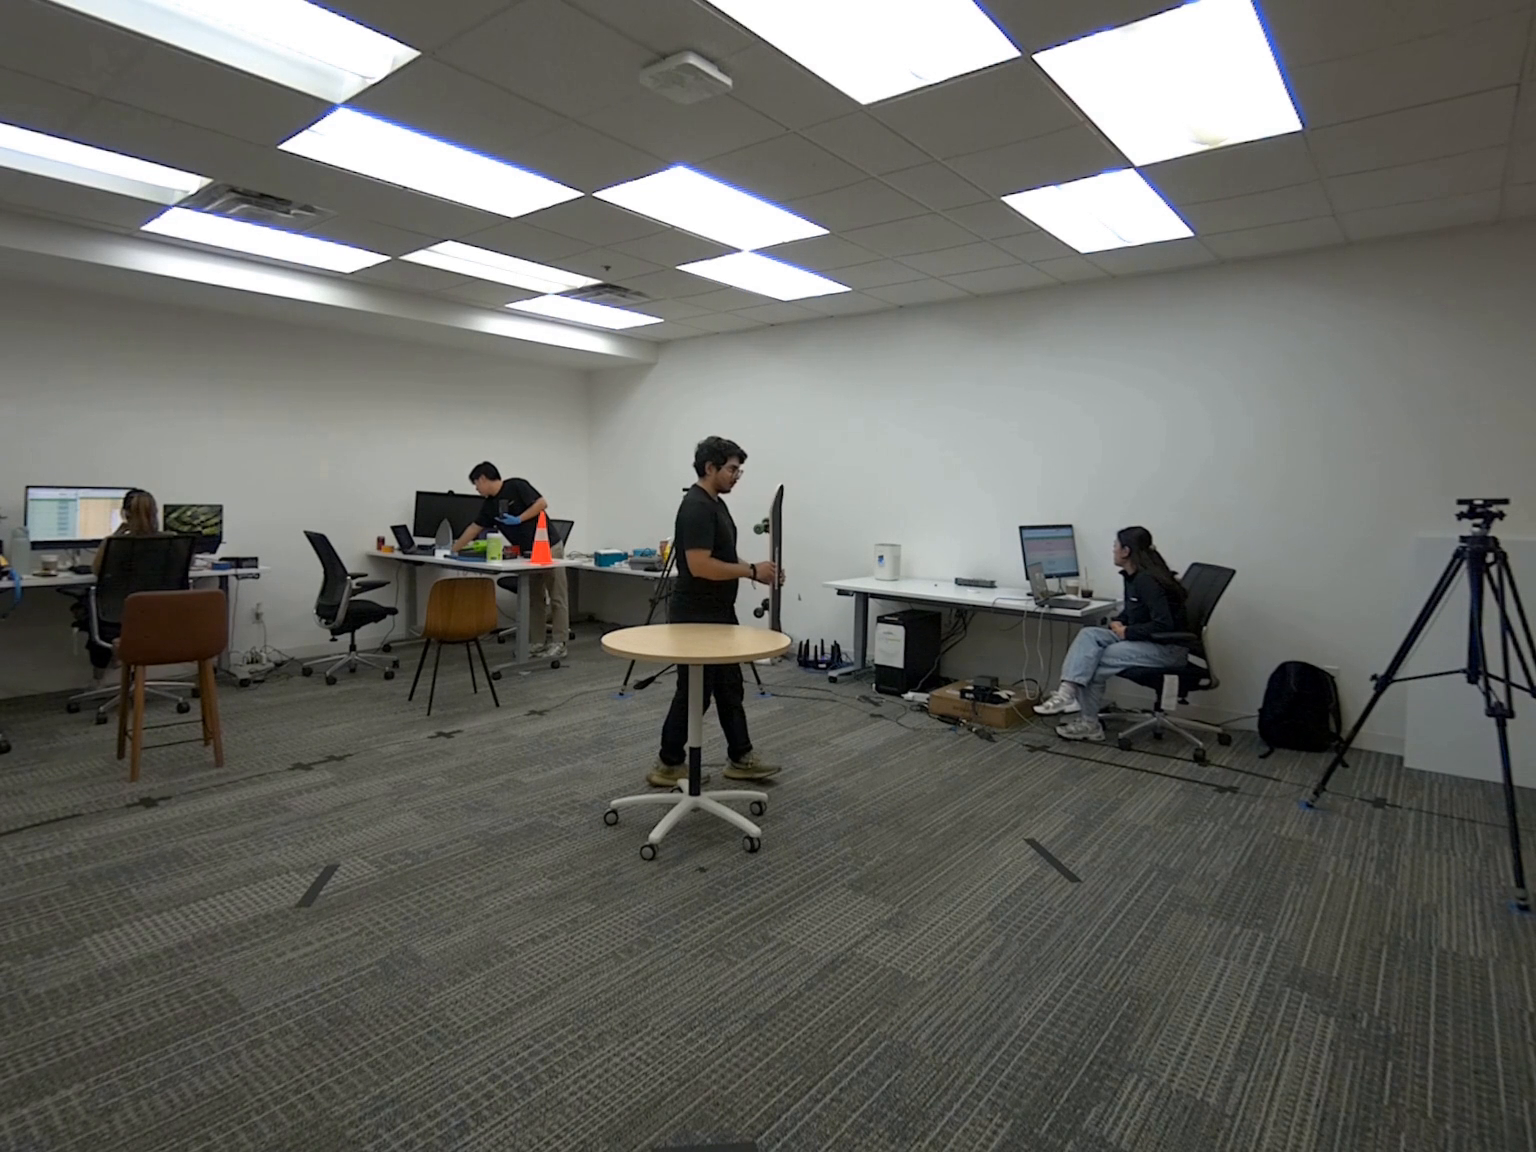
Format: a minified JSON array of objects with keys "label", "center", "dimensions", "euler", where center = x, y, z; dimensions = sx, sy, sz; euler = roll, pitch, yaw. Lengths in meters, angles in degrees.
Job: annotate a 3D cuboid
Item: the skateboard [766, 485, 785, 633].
[{"label":"skateboard","center":[-0.001,-0.049,3.986],"dimensions":[0.112,0.774,0.193],"euler":[4,15,15]}]
